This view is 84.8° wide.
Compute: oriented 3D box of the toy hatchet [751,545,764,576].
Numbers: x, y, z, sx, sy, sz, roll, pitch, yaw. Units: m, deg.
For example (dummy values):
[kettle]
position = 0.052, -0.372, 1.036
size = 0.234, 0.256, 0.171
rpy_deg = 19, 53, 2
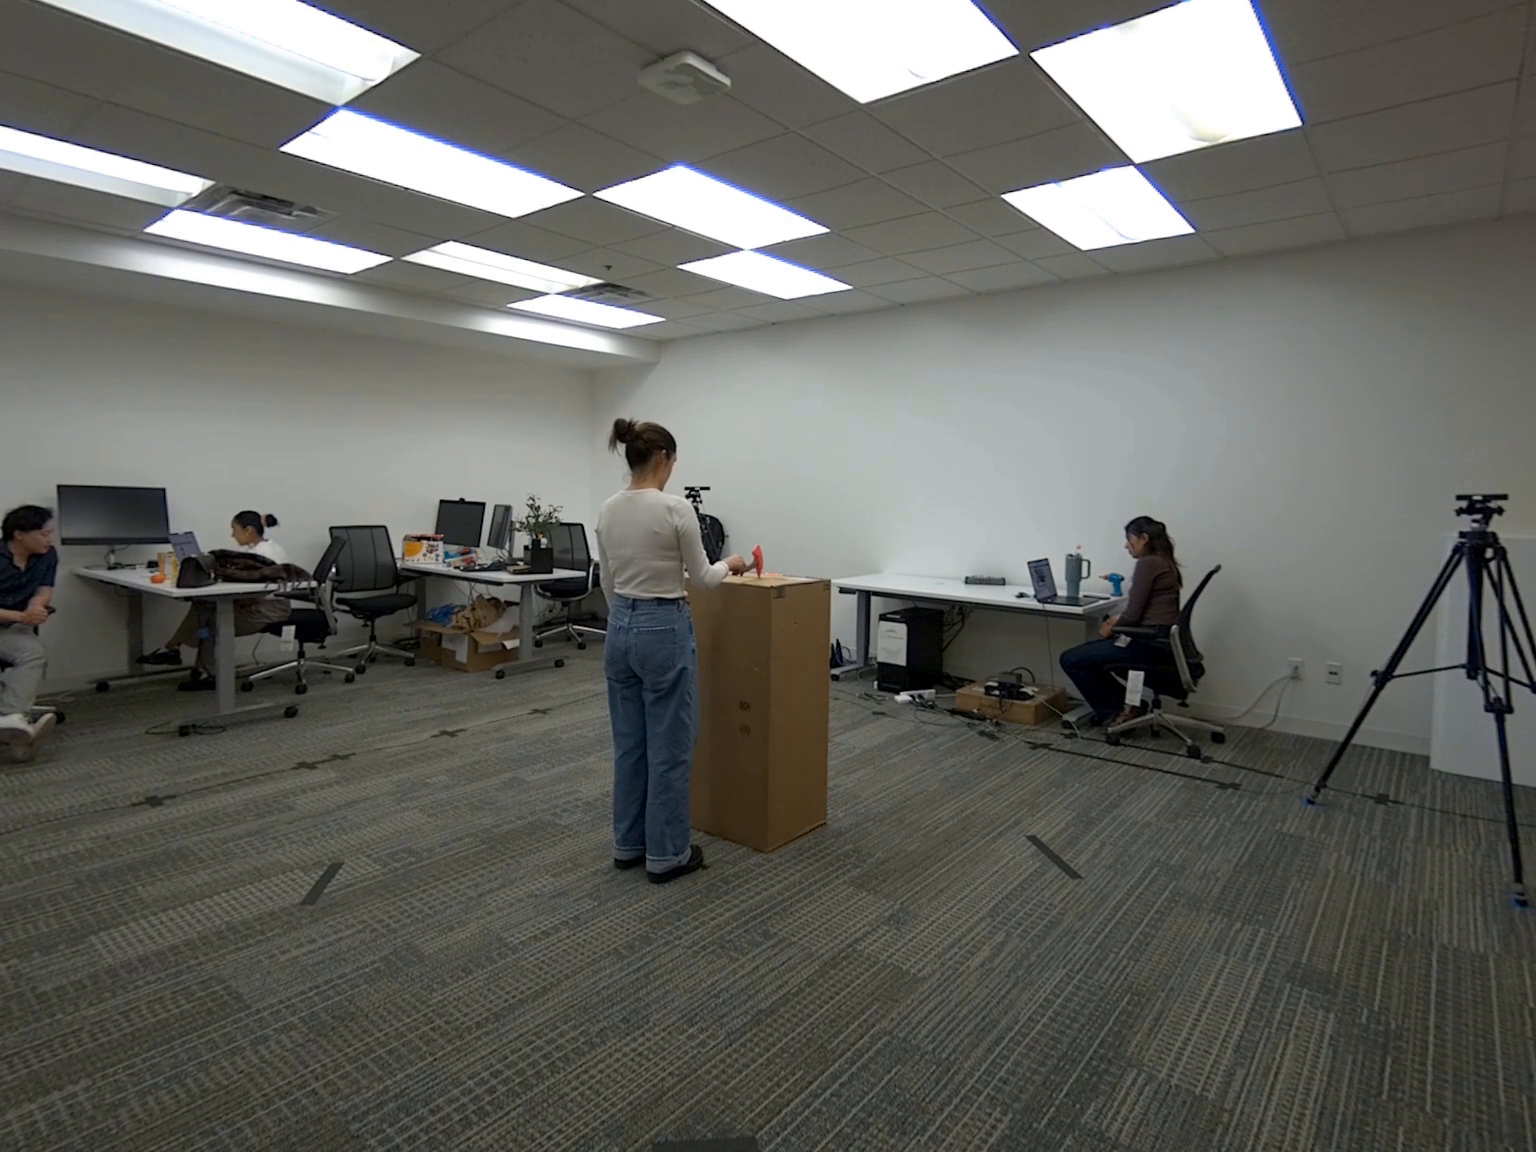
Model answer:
[toy hatchet]
position = -0.085, -0.076, 3.389
size = 0.030, 0.131, 0.263
rpy_deg = 6, -1, 22
